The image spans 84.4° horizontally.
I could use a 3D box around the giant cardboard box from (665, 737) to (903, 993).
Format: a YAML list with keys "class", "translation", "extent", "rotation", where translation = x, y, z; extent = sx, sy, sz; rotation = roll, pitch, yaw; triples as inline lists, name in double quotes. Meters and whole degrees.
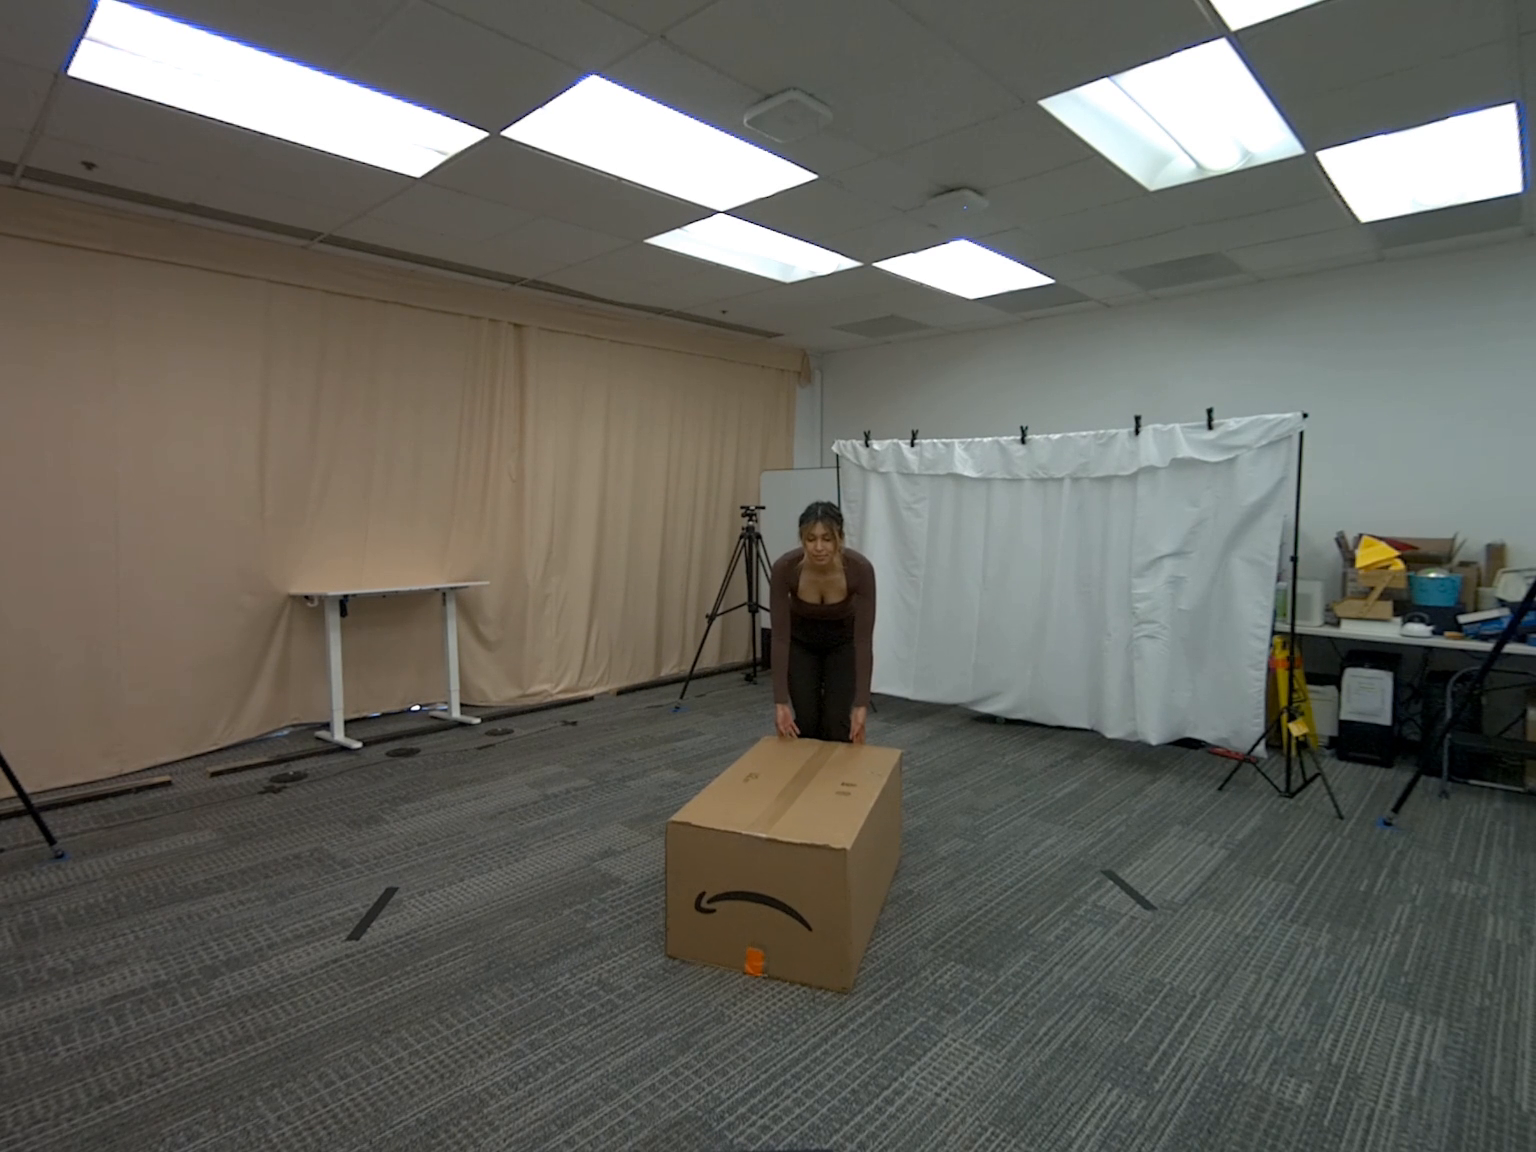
- class: "giant cardboard box"
  translation: [0.110, 0.933, 2.958]
  extent: [0.596, 0.446, 1.008]
  rotation: [0, 4, 19]
